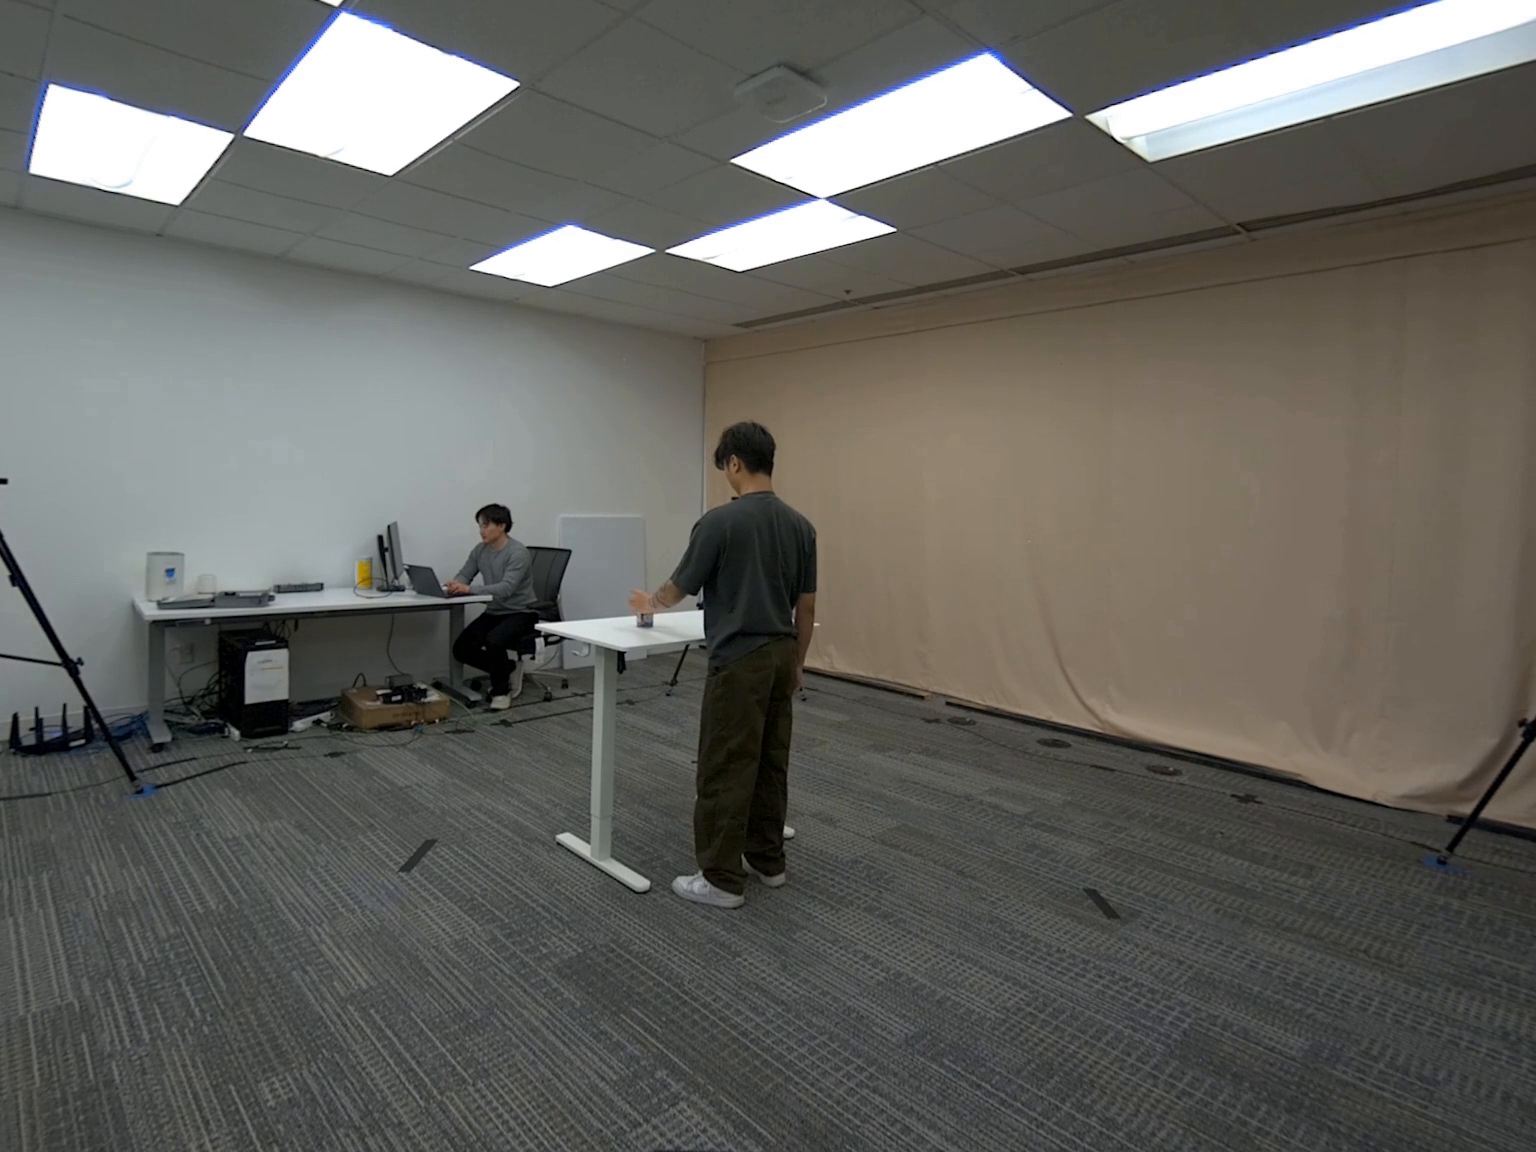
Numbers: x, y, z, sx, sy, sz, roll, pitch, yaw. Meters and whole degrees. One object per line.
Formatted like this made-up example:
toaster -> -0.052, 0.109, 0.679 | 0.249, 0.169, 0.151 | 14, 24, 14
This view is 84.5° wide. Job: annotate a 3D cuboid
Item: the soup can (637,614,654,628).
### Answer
soup can -> -0.481, 0.142, 3.293 | 0.067, 0.121, 0.067 | 3, 0, -1
